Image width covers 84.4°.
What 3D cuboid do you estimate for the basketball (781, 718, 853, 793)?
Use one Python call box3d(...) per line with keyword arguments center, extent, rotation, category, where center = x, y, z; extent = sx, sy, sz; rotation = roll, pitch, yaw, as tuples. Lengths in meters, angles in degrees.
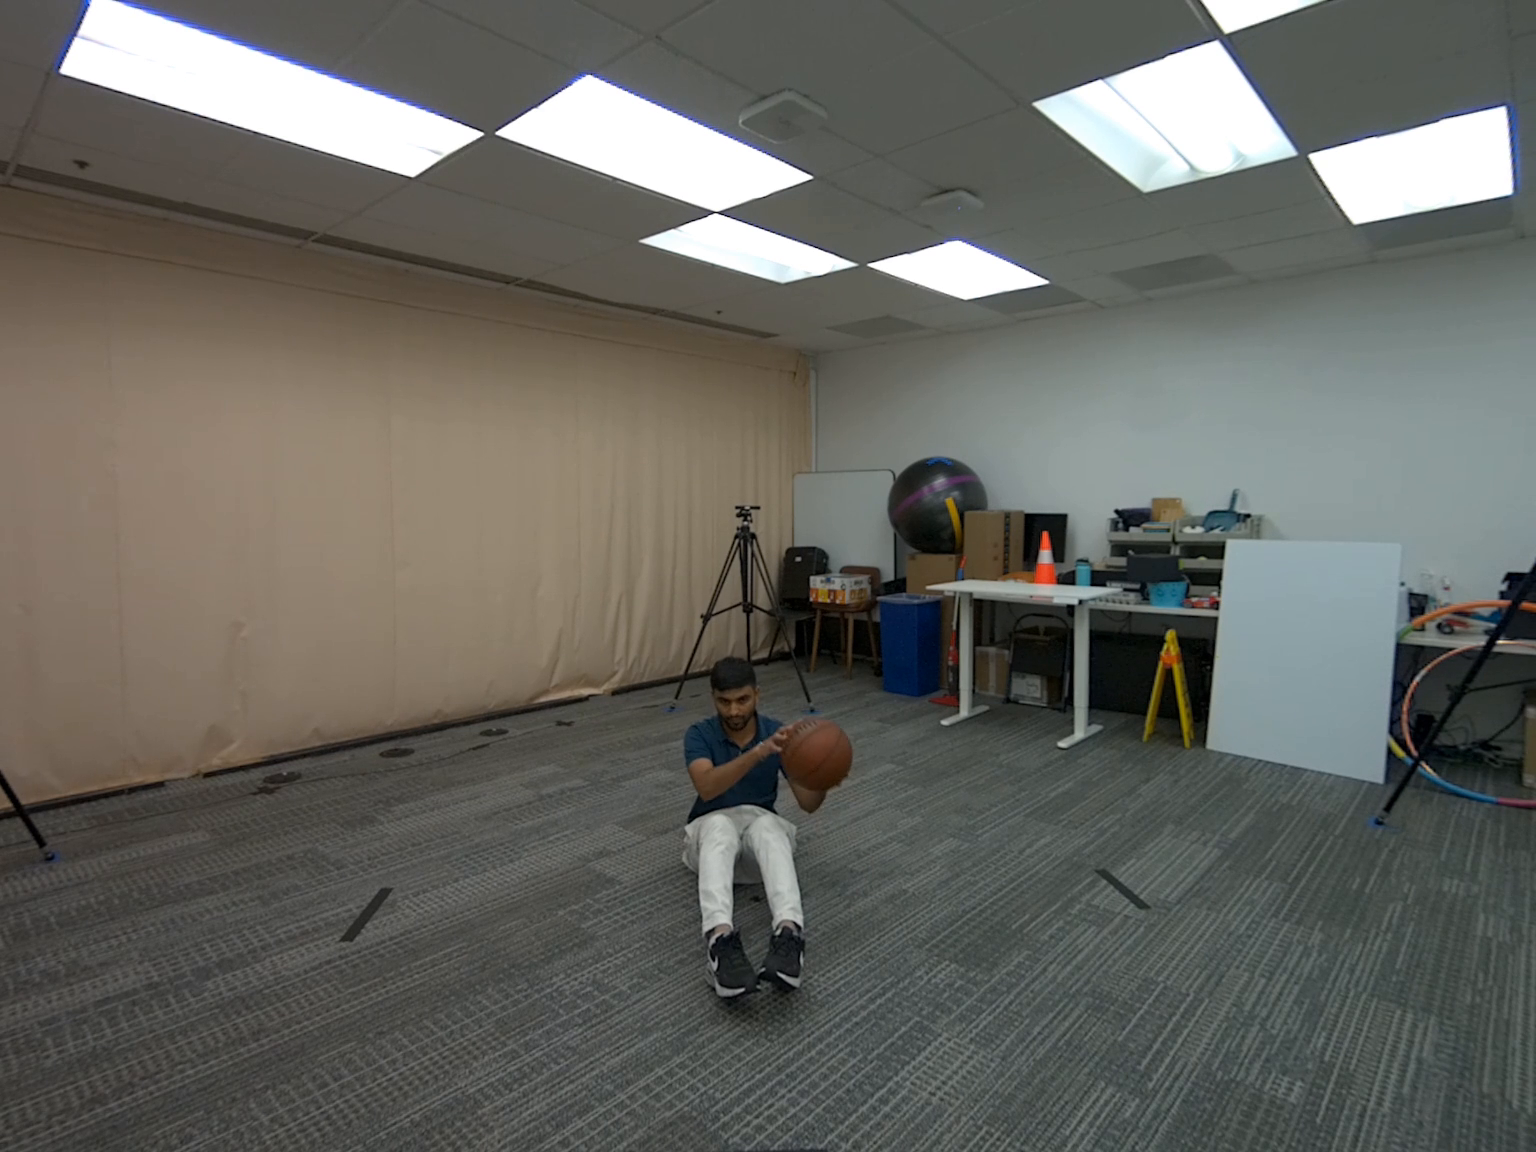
box3d(center=(0.165, 0.634, 2.809), extent=(0.236, 0.235, 0.237), rotation=(0, 4, -2), category="basketball")
